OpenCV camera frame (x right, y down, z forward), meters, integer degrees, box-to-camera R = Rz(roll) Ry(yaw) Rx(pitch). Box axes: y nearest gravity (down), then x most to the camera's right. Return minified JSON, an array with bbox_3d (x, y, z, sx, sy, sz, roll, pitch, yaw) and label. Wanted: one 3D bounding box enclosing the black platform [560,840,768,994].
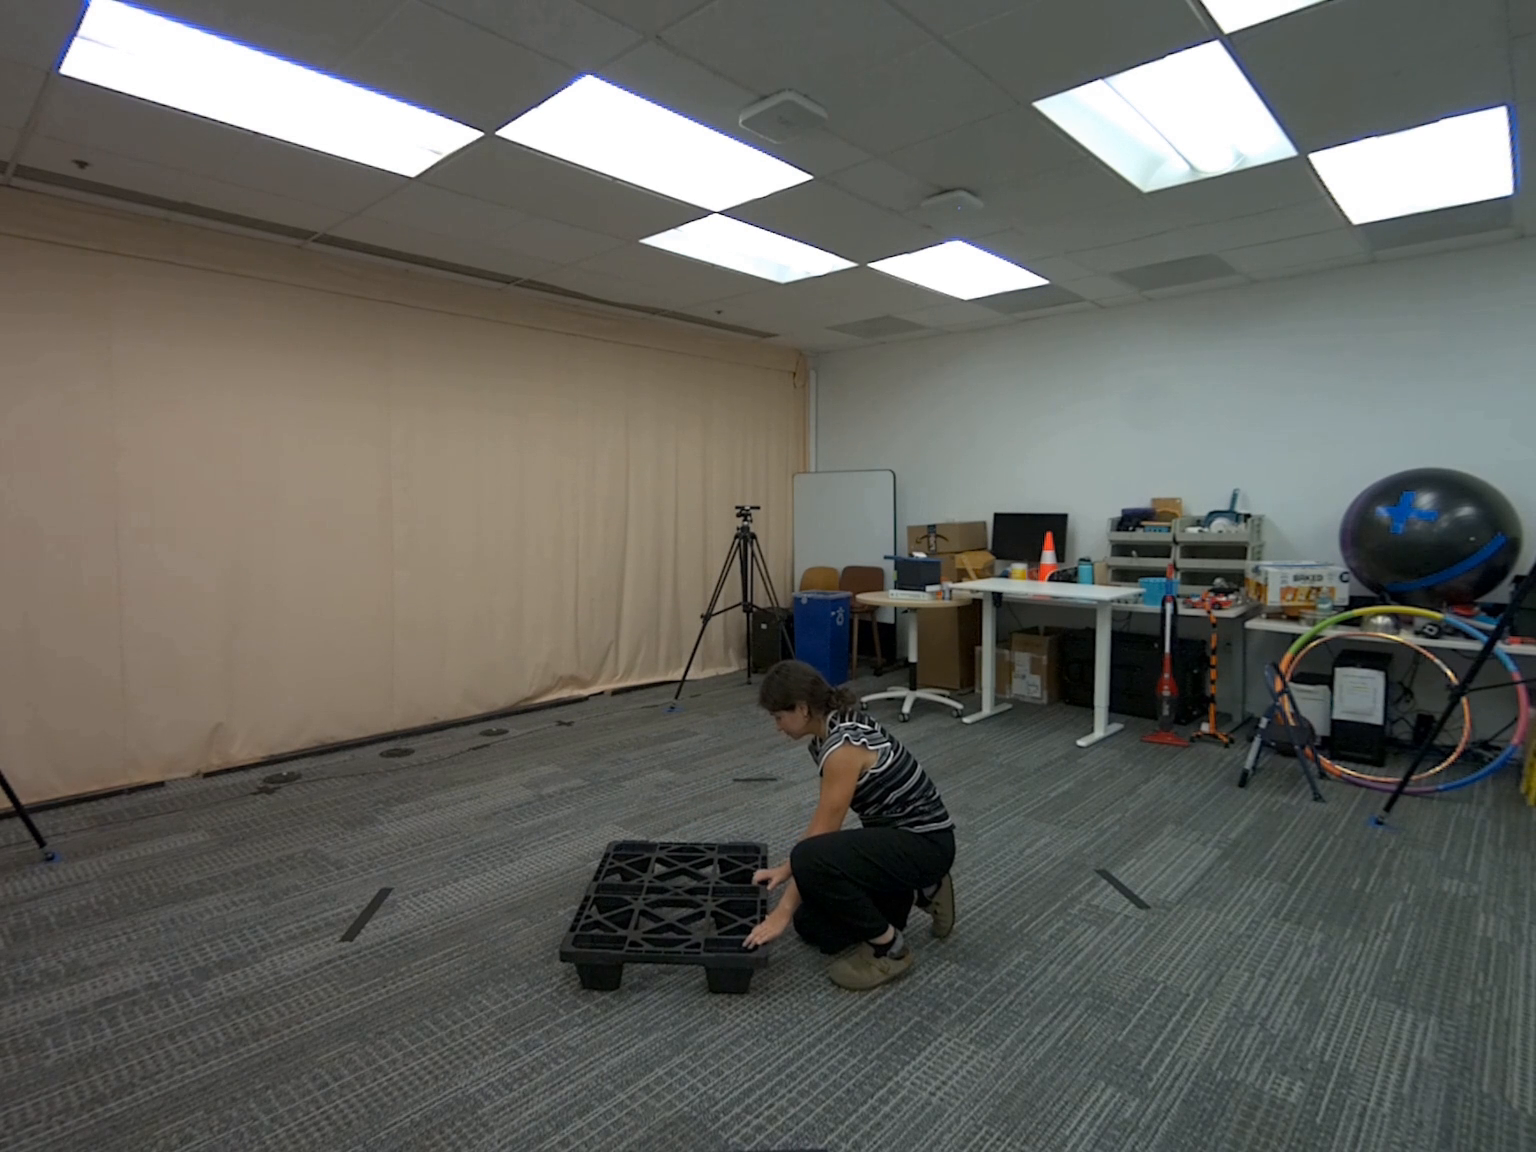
[{"bbox_3d":[-0.296,1.097,2.775,0.607,0.143,0.805,0,5,2],"label":"black platform"}]
